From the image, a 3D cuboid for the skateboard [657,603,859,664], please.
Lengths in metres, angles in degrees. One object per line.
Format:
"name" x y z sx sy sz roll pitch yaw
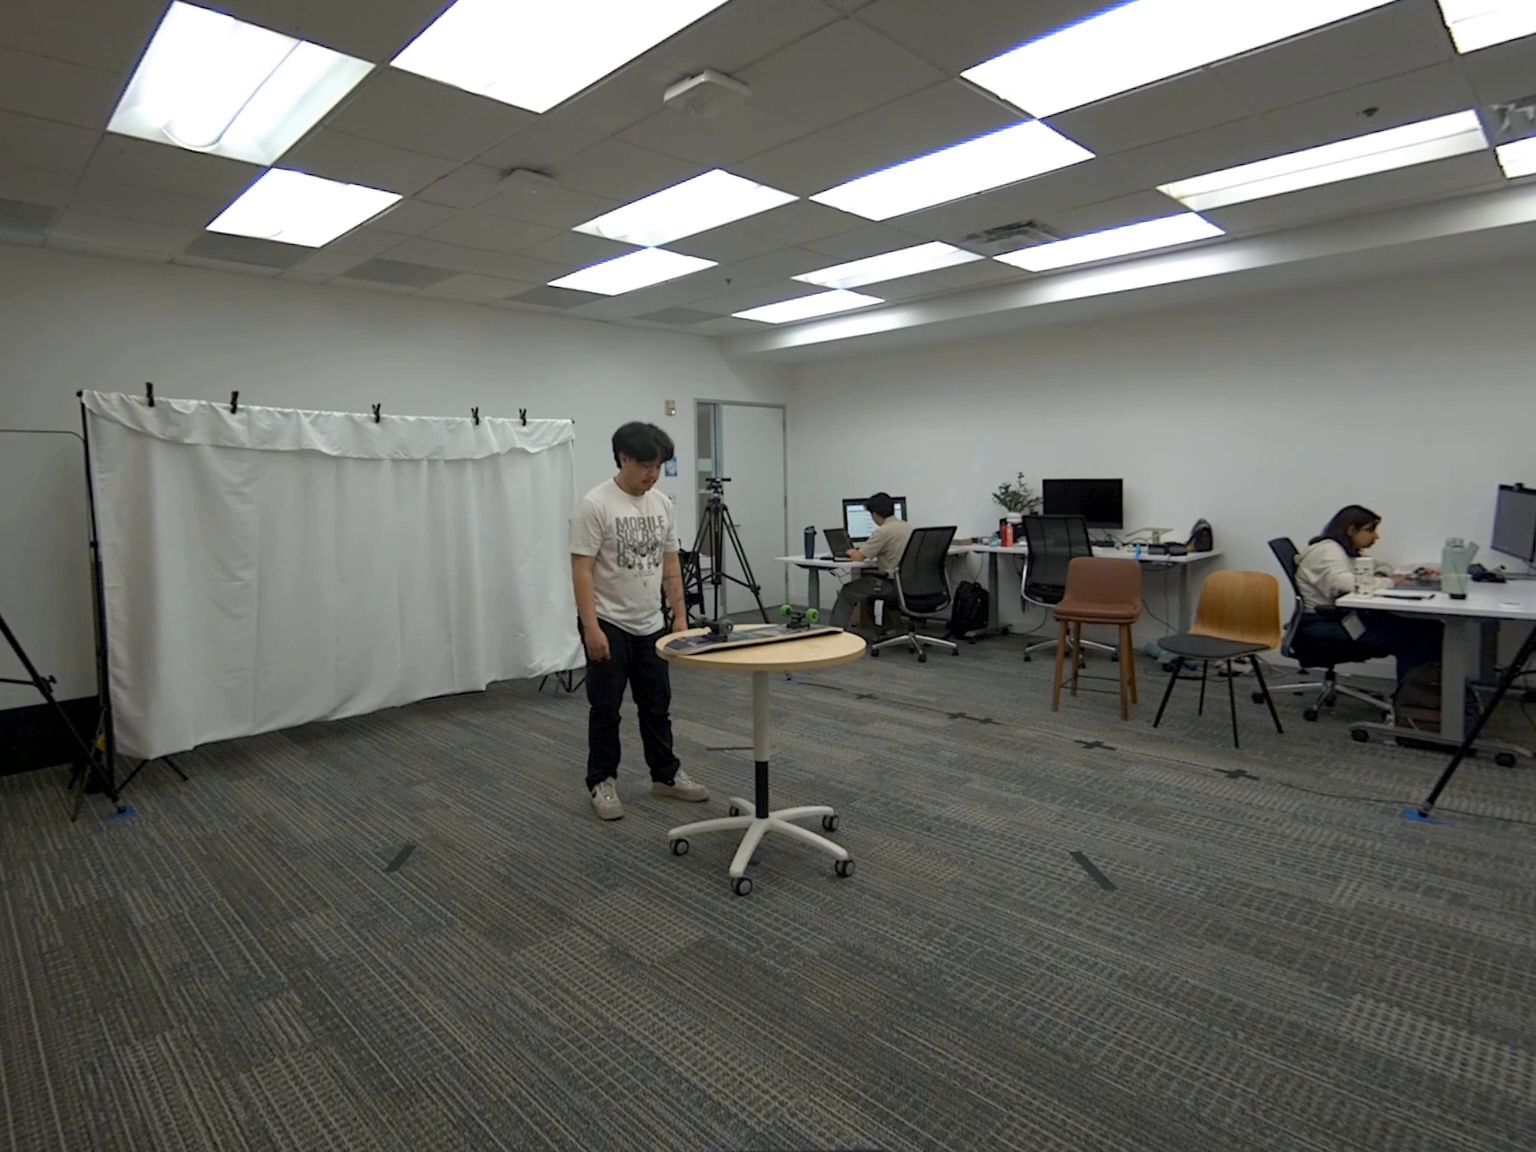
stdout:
"skateboard" -0.030 0.197 3.135 0.766 0.110 0.199 -6 5 -35
